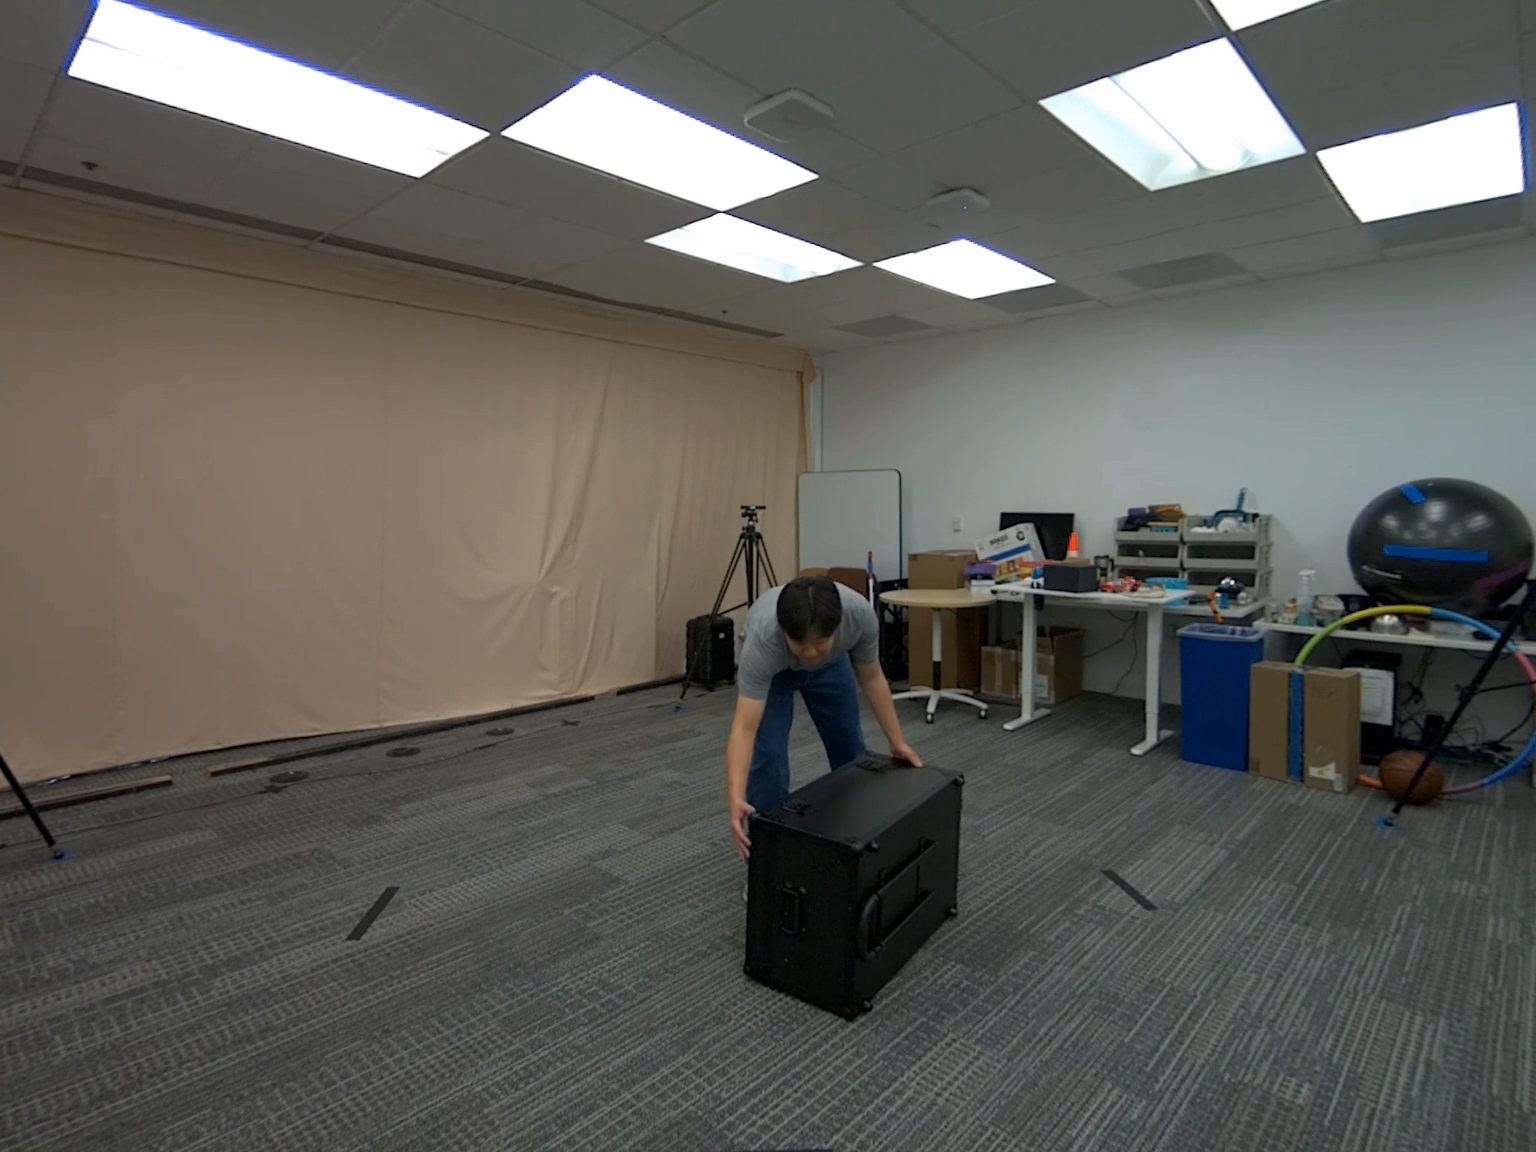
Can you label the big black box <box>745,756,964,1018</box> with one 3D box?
[{"bbox_3d":[0.334,0.913,2.675,0.409,0.519,0.837,5,7,33],"label":"big black box"}]
